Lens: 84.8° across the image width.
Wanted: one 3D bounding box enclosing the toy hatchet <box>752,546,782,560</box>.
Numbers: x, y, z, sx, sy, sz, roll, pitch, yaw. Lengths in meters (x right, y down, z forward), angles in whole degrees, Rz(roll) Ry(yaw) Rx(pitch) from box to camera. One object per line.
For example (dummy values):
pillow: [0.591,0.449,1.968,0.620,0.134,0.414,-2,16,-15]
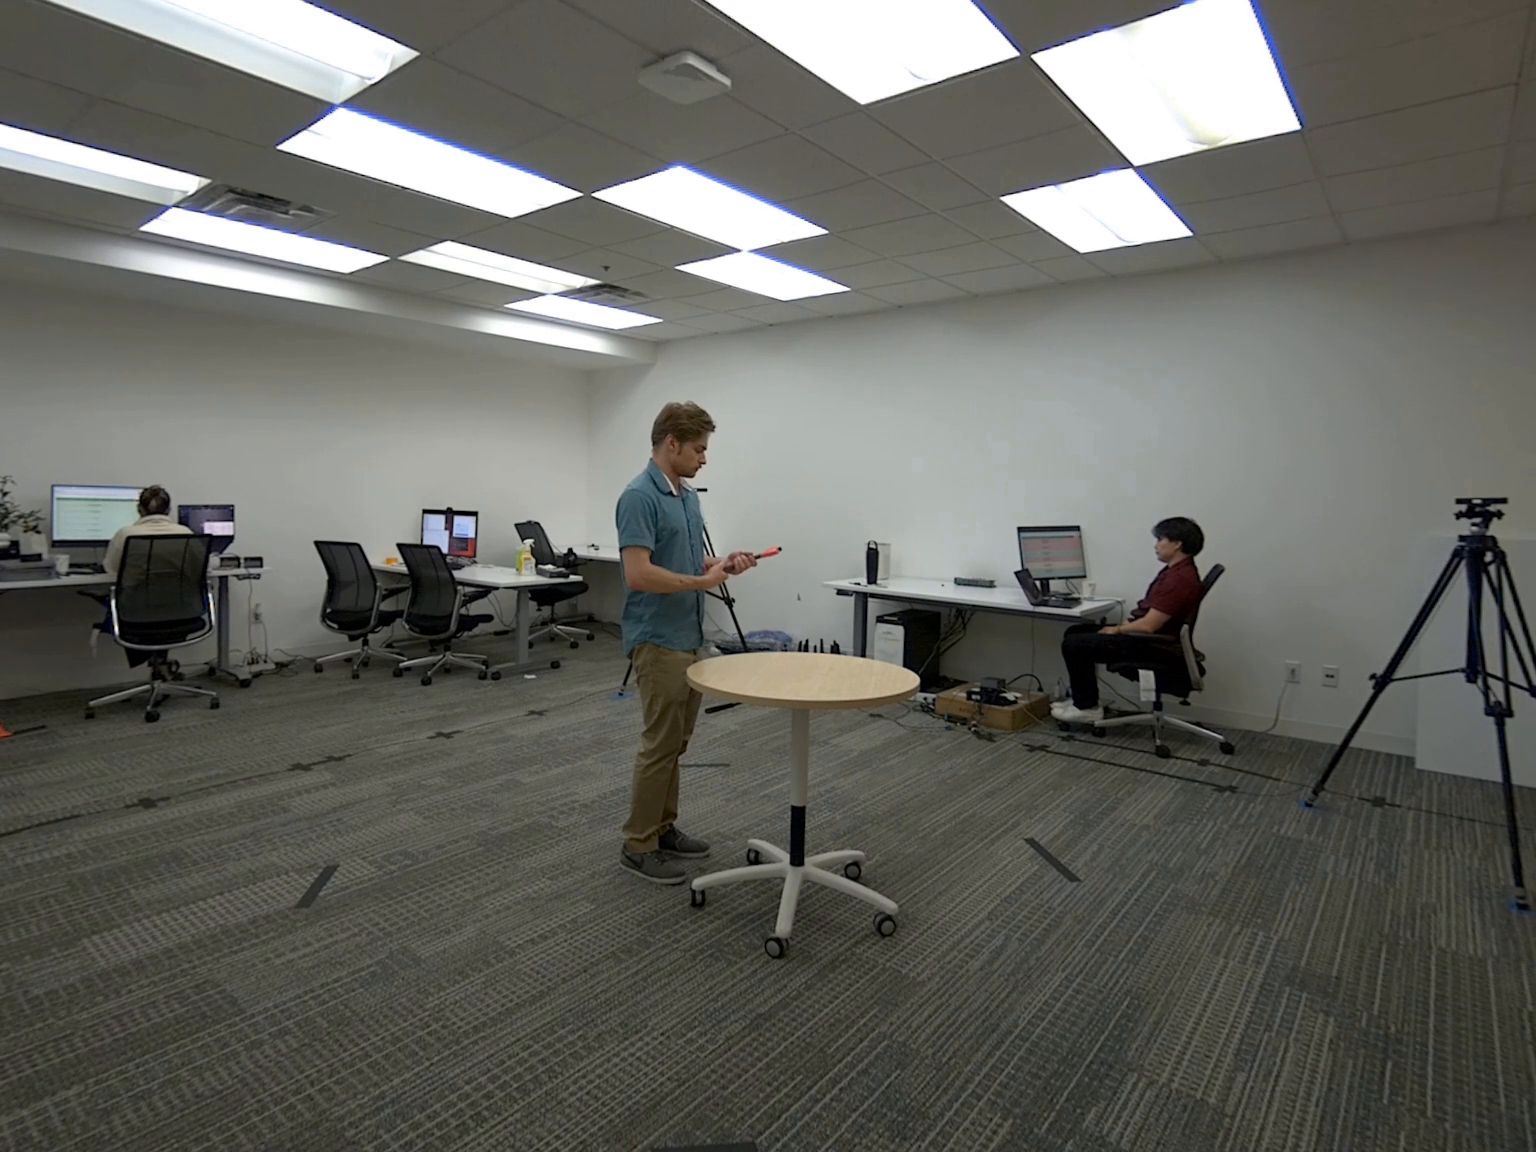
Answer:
toy hatchet: [-0.095,-0.073,3.060,0.266,0.029,0.134,-10,7,-17]
